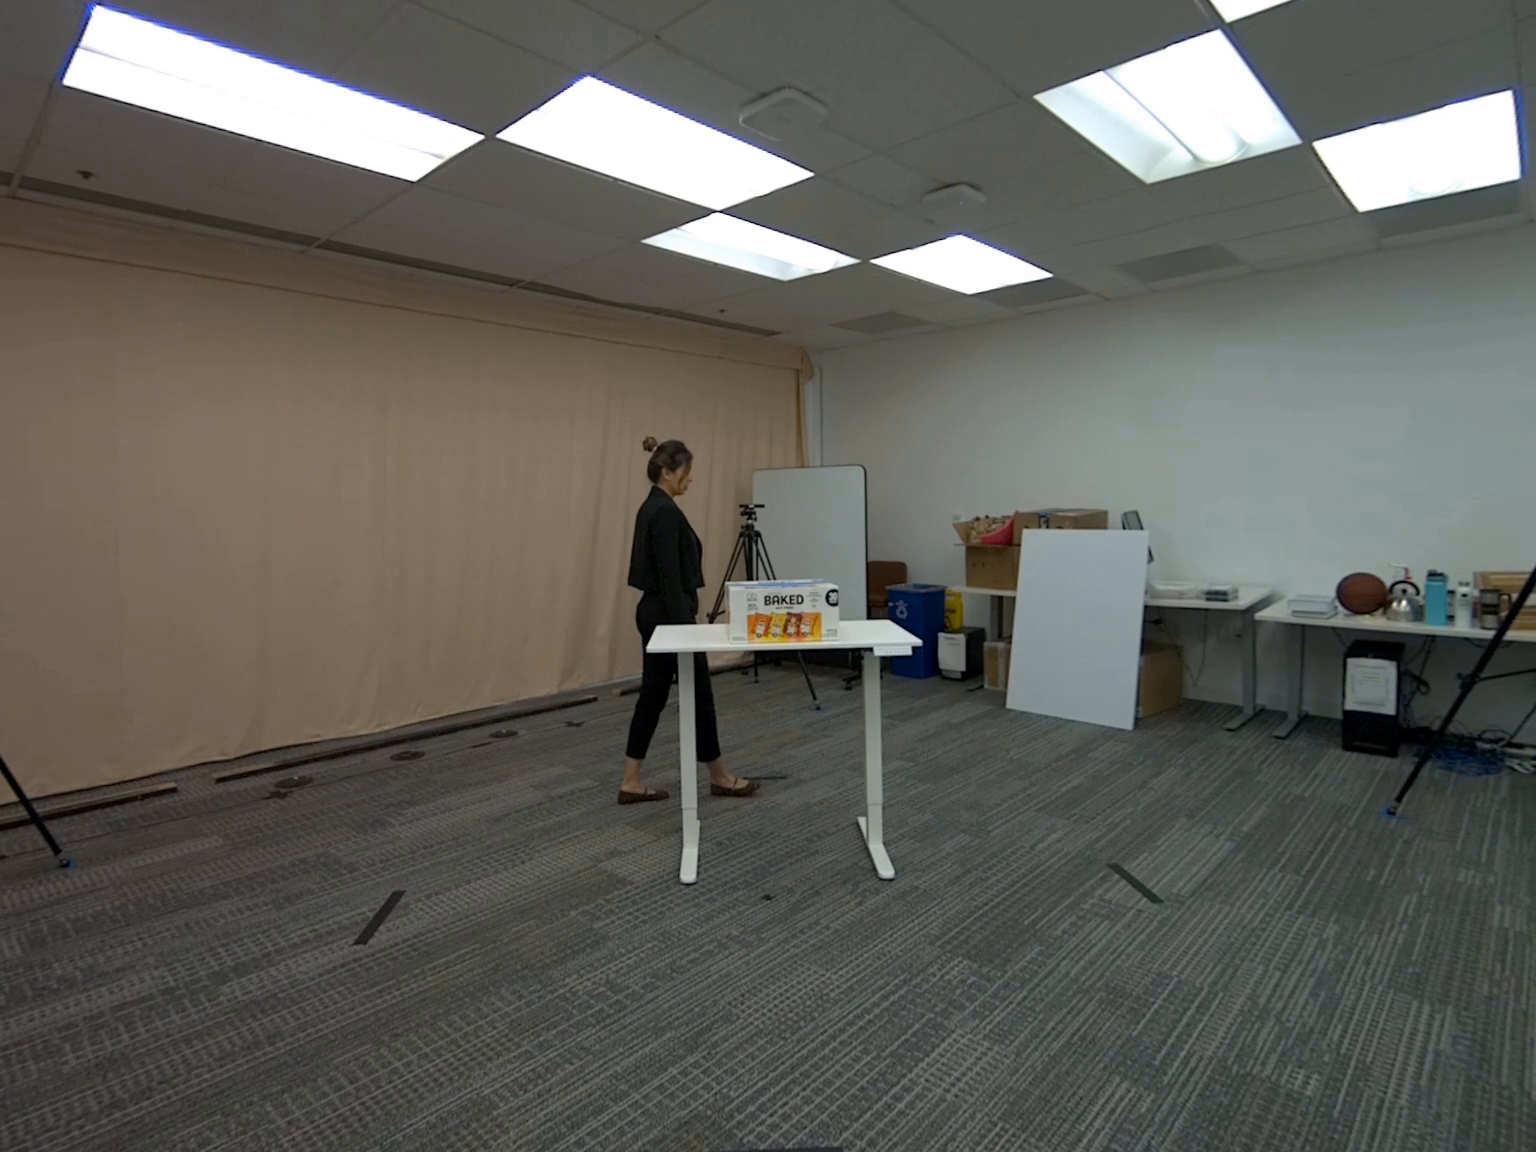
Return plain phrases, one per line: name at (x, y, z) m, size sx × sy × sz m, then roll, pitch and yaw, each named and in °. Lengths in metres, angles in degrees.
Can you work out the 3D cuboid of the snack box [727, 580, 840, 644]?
snack box at (0.044, 0.132, 3.264) m, size 0.404 × 0.205 × 0.342 m, roll -1°, pitch 4°, yaw -4°
